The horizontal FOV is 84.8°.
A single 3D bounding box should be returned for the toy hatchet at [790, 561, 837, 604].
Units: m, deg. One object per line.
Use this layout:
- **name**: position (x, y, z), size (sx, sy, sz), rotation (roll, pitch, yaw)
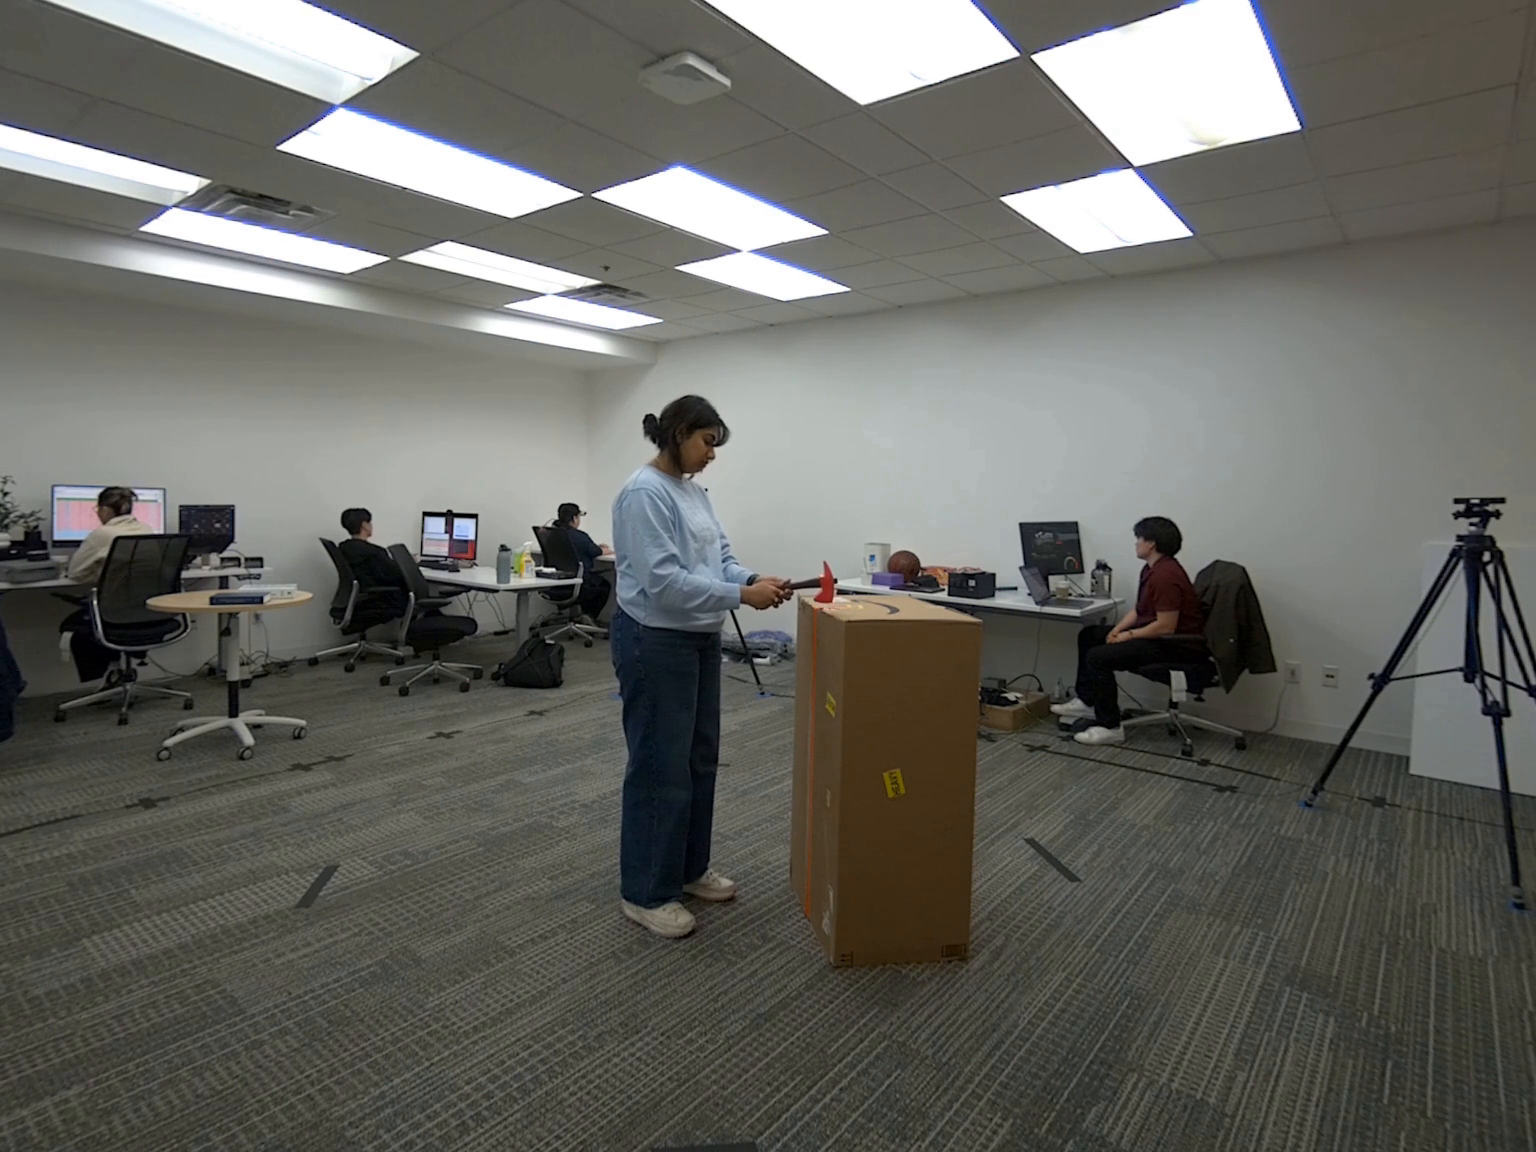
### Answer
- **toy hatchet**: position (0.082, 0.060, 2.622), size (0.272, 0.129, 0.030), rotation (-24, 12, 11)
